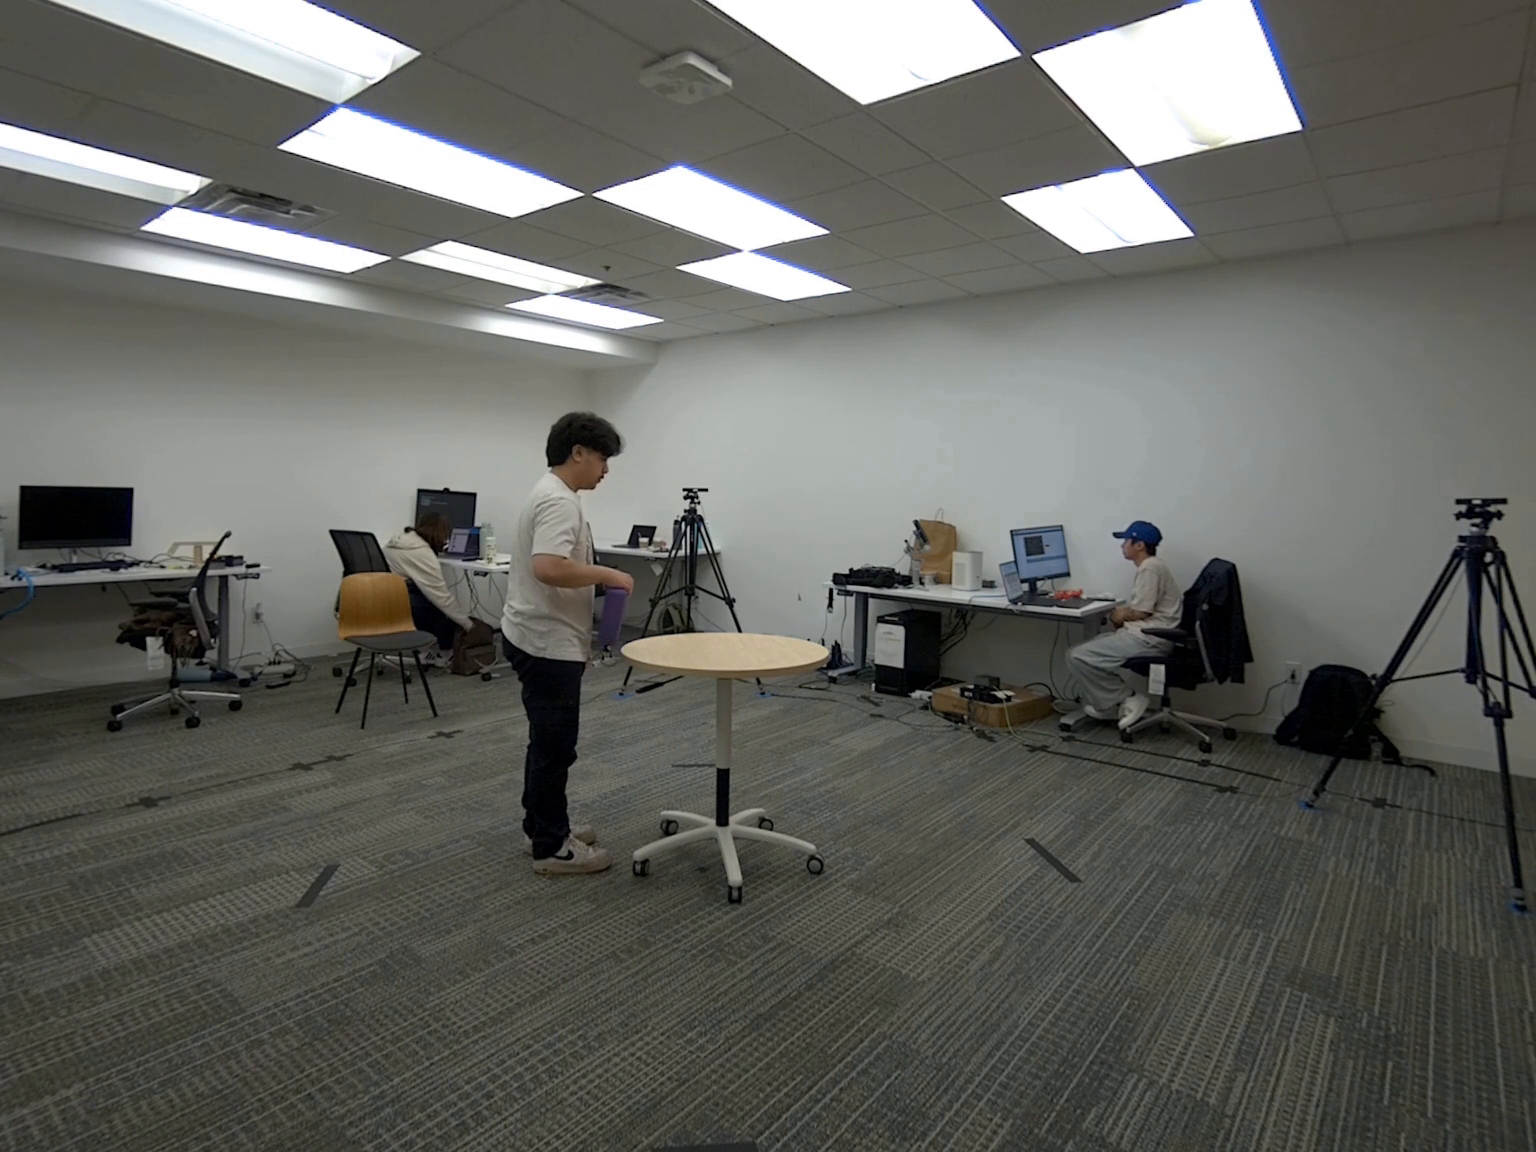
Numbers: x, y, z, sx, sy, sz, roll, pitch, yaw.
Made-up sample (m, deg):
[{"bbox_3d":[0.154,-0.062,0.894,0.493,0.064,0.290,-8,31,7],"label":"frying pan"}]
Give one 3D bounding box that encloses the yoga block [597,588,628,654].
[{"bbox_3d":[-0.589,0.127,3.120,0.076,0.226,0.153,7,23,-10],"label":"yoga block"}]
